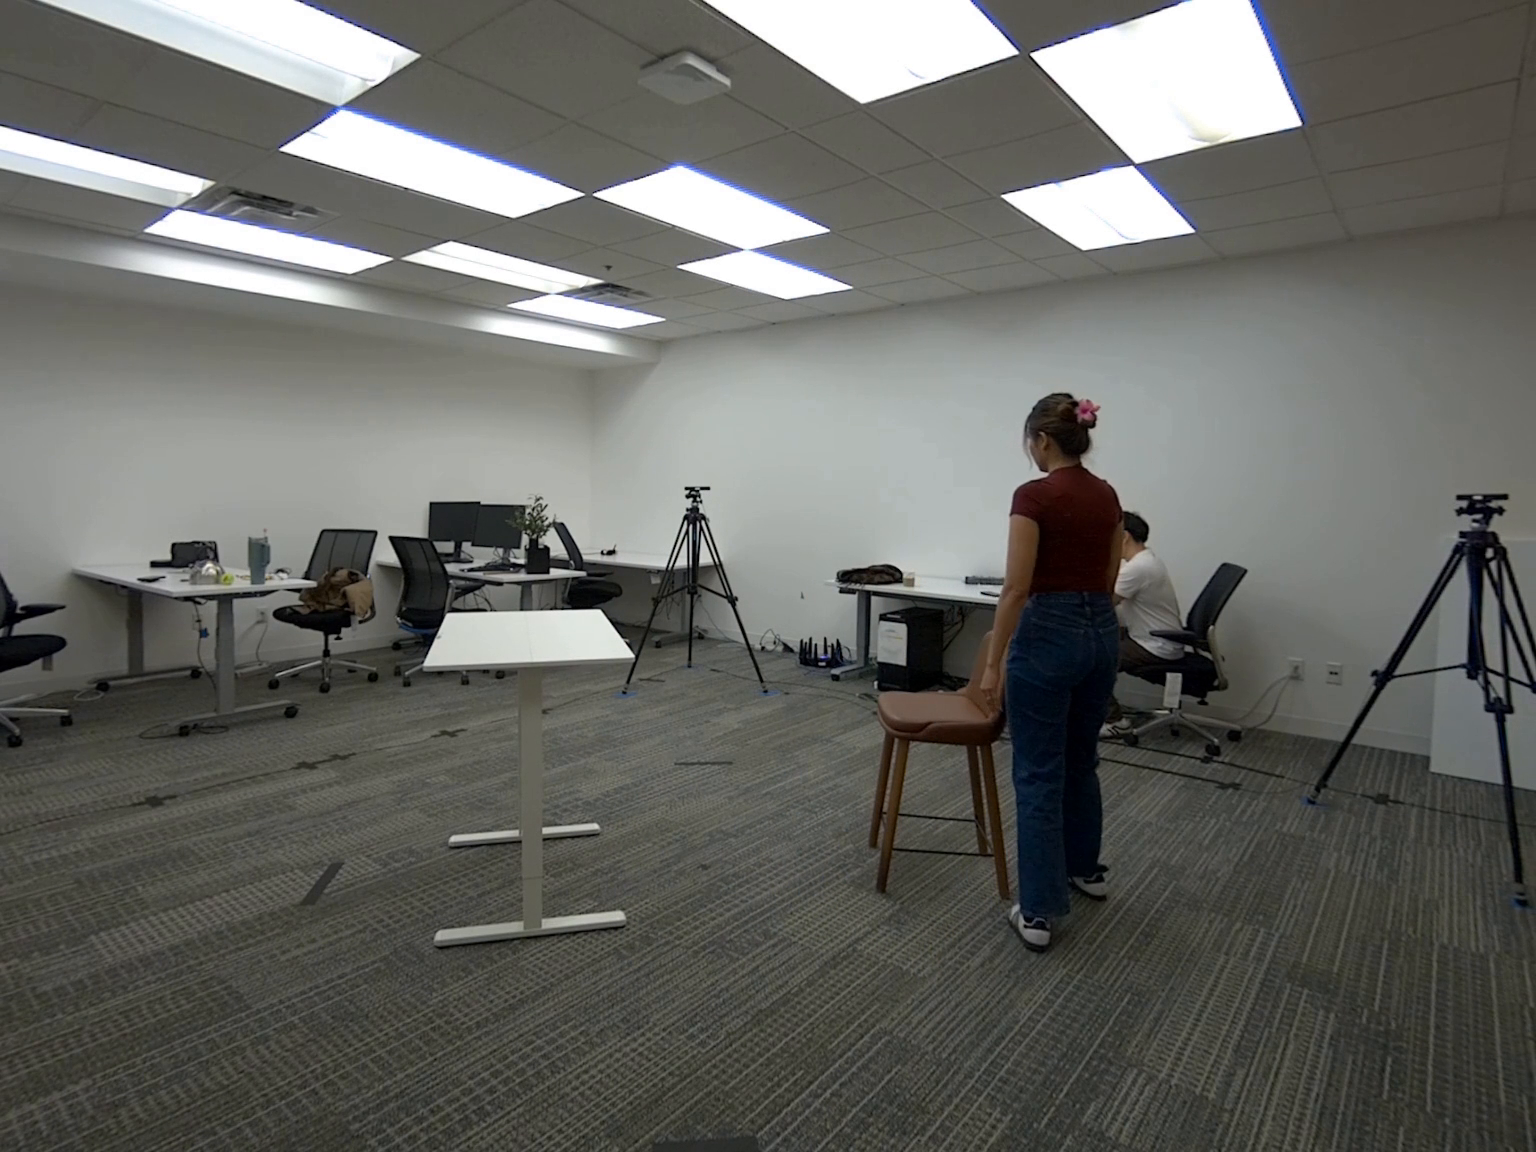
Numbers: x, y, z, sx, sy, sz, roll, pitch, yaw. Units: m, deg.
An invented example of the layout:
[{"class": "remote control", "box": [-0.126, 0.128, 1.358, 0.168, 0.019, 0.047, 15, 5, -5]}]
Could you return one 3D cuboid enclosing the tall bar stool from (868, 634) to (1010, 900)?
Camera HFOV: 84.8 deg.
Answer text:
[{"class": "tall bar stool", "box": [0.622, 0.650, 3.100, 0.470, 0.887, 0.455, 3, 4, 4]}]
